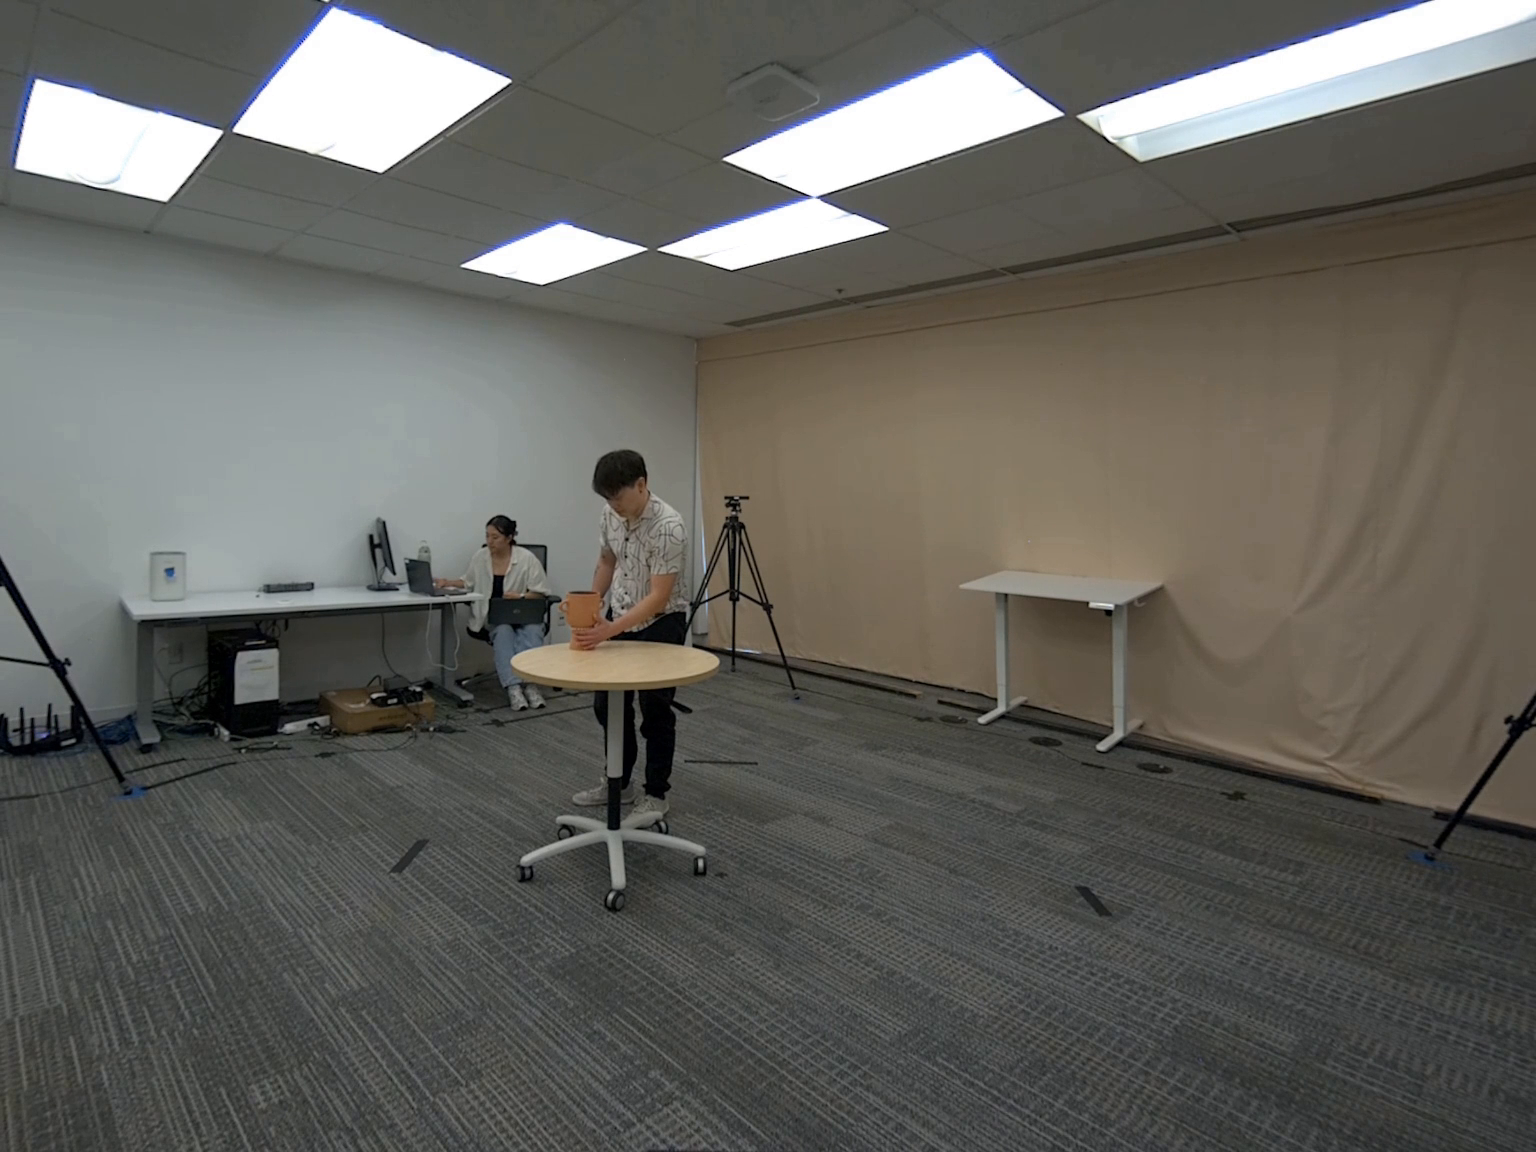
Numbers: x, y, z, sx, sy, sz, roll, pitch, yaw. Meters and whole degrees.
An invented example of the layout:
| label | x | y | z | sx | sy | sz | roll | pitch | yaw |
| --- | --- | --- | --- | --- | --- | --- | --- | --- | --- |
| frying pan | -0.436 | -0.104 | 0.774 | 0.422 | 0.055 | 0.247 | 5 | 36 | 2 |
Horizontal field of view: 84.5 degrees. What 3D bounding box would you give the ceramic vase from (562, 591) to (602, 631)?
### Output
| label | x | y | z | sx | sy | sz | roll | pitch | yaw |
| --- | --- | --- | --- | --- | --- | --- | --- | --- | --- |
| ceramic vase | -0.756 | 0.178 | 3.326 | 0.159 | 0.219 | 0.135 | 0 | 4 | 1 |
